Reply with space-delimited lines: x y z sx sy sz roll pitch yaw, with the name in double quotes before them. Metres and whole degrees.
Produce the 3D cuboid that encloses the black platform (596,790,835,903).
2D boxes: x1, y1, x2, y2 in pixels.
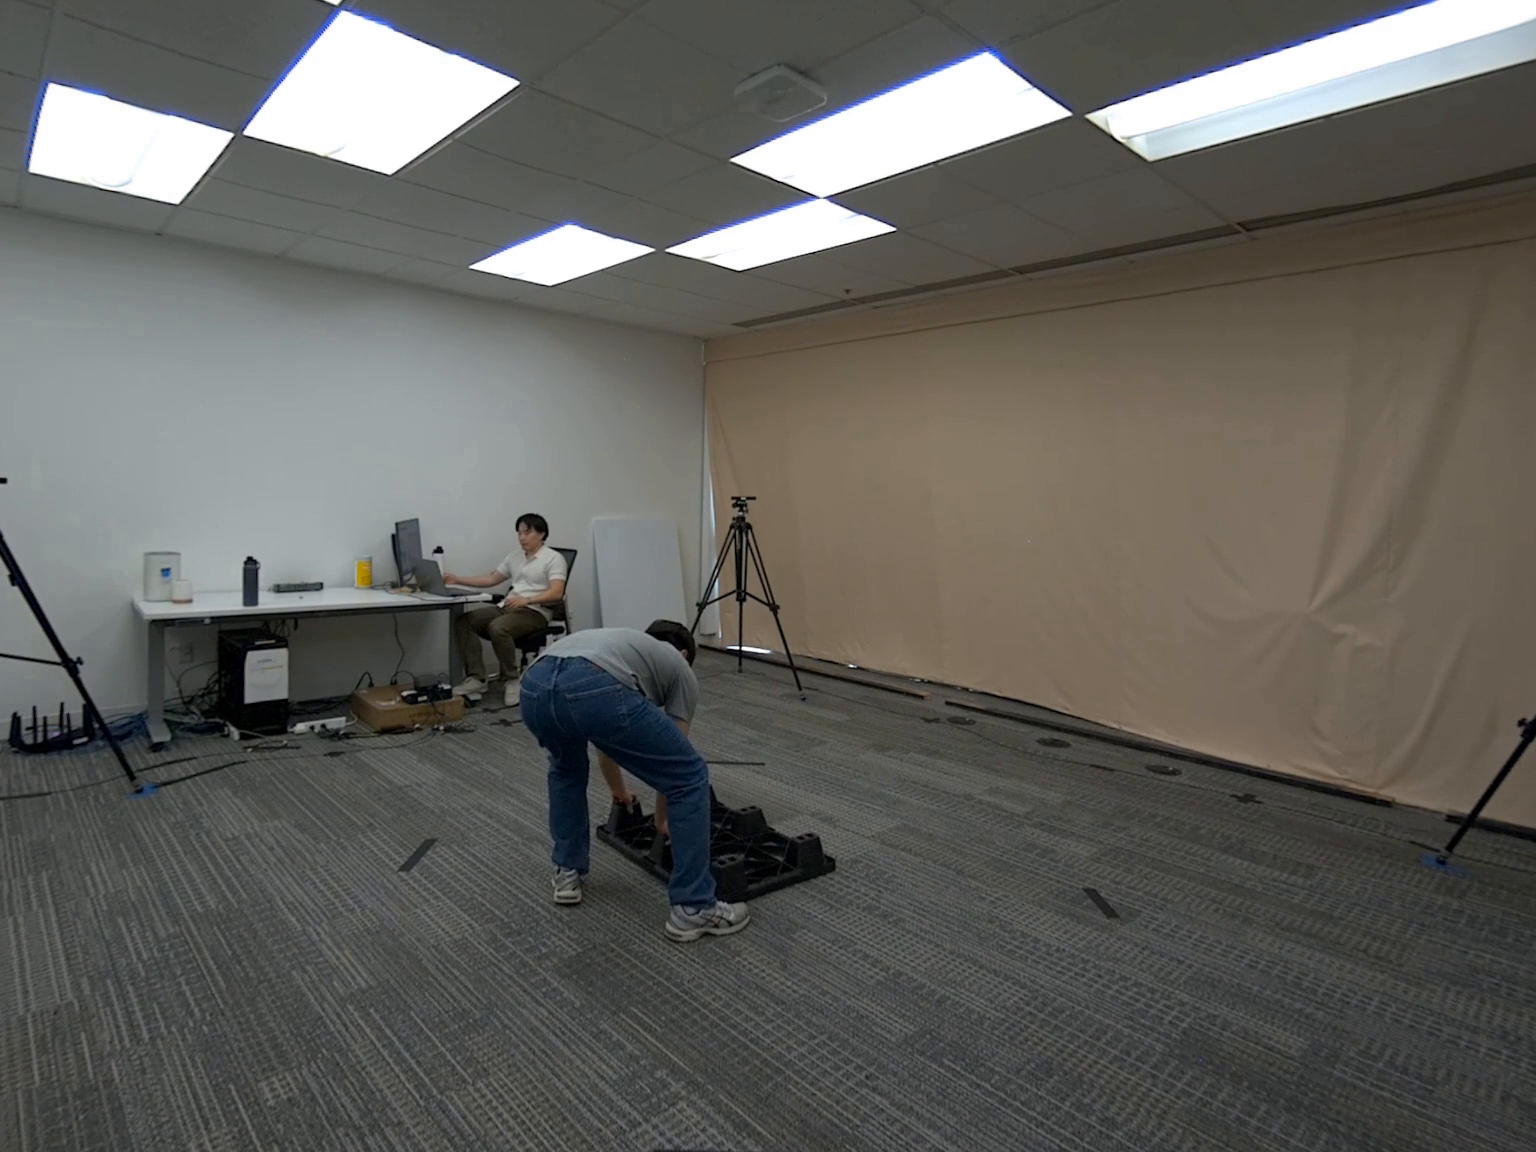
"black platform" -0.220 1.021 3.300 0.592 0.143 0.826 -4 8 -39
